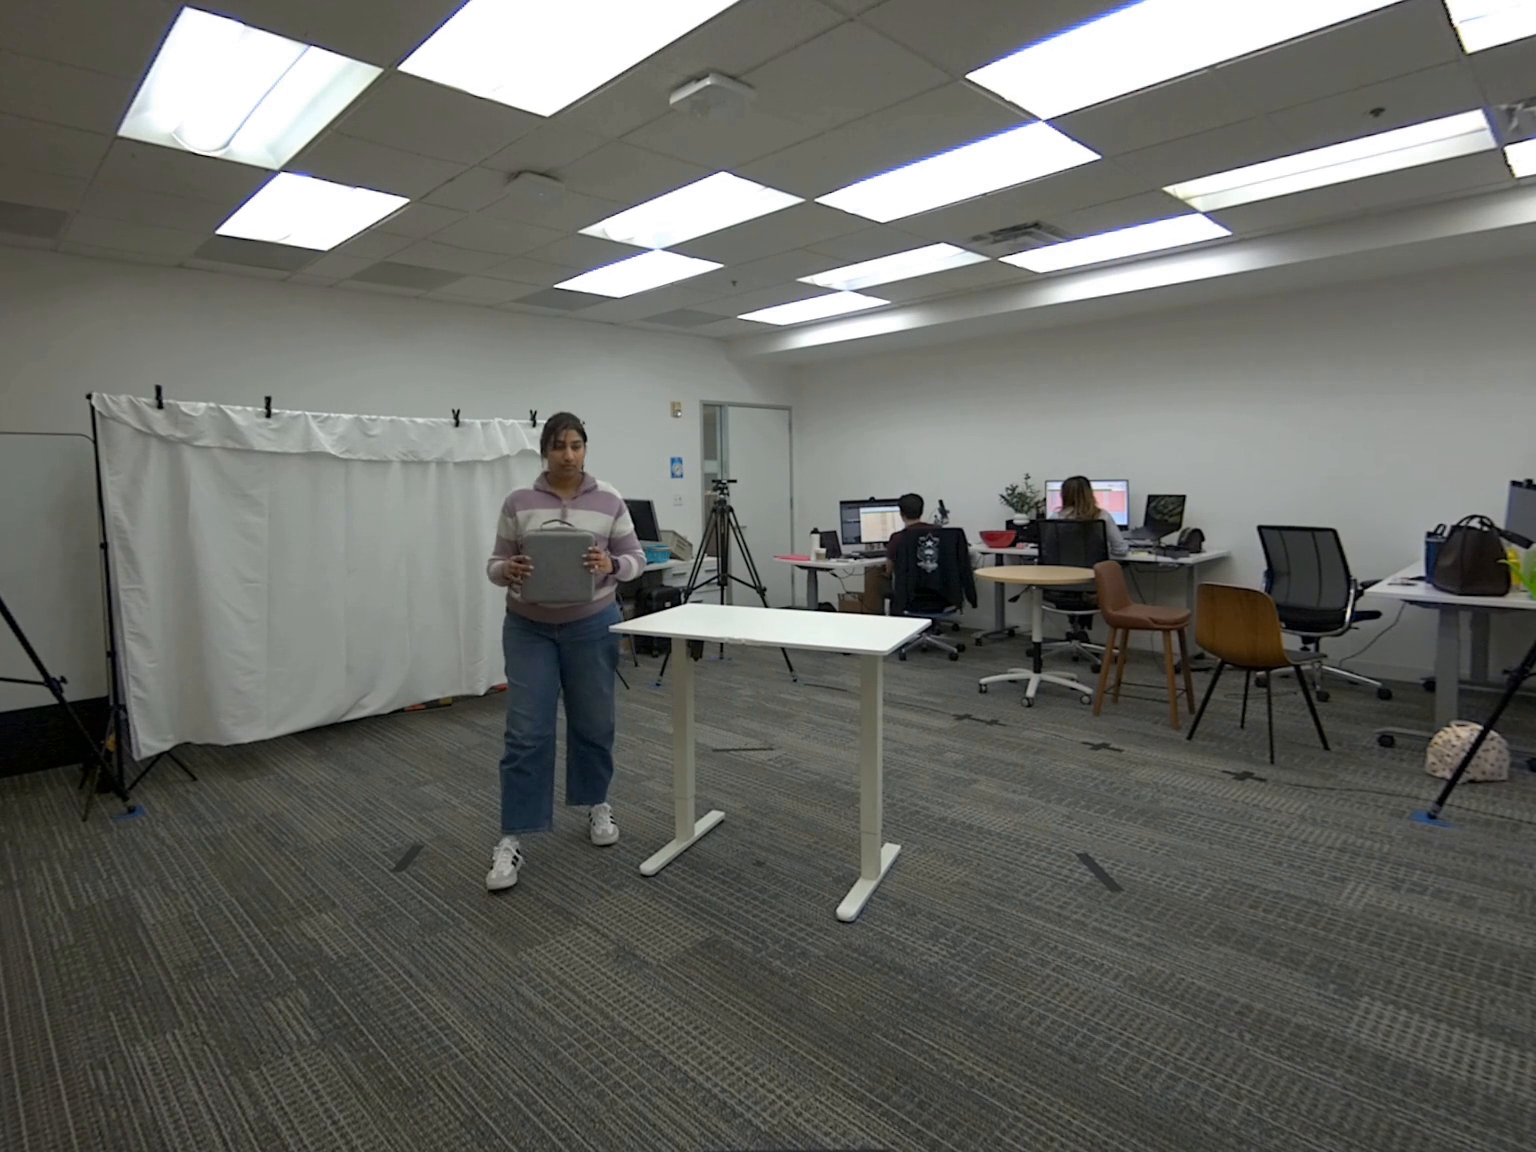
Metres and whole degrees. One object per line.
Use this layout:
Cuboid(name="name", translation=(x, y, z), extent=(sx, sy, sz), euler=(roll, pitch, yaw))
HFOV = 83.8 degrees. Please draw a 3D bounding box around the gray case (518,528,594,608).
Cuboid(name="gray case", translation=(-0.750, -0.034, 2.993), extent=(0.254, 0.259, 0.106), euler=(-1, 6, -13))
